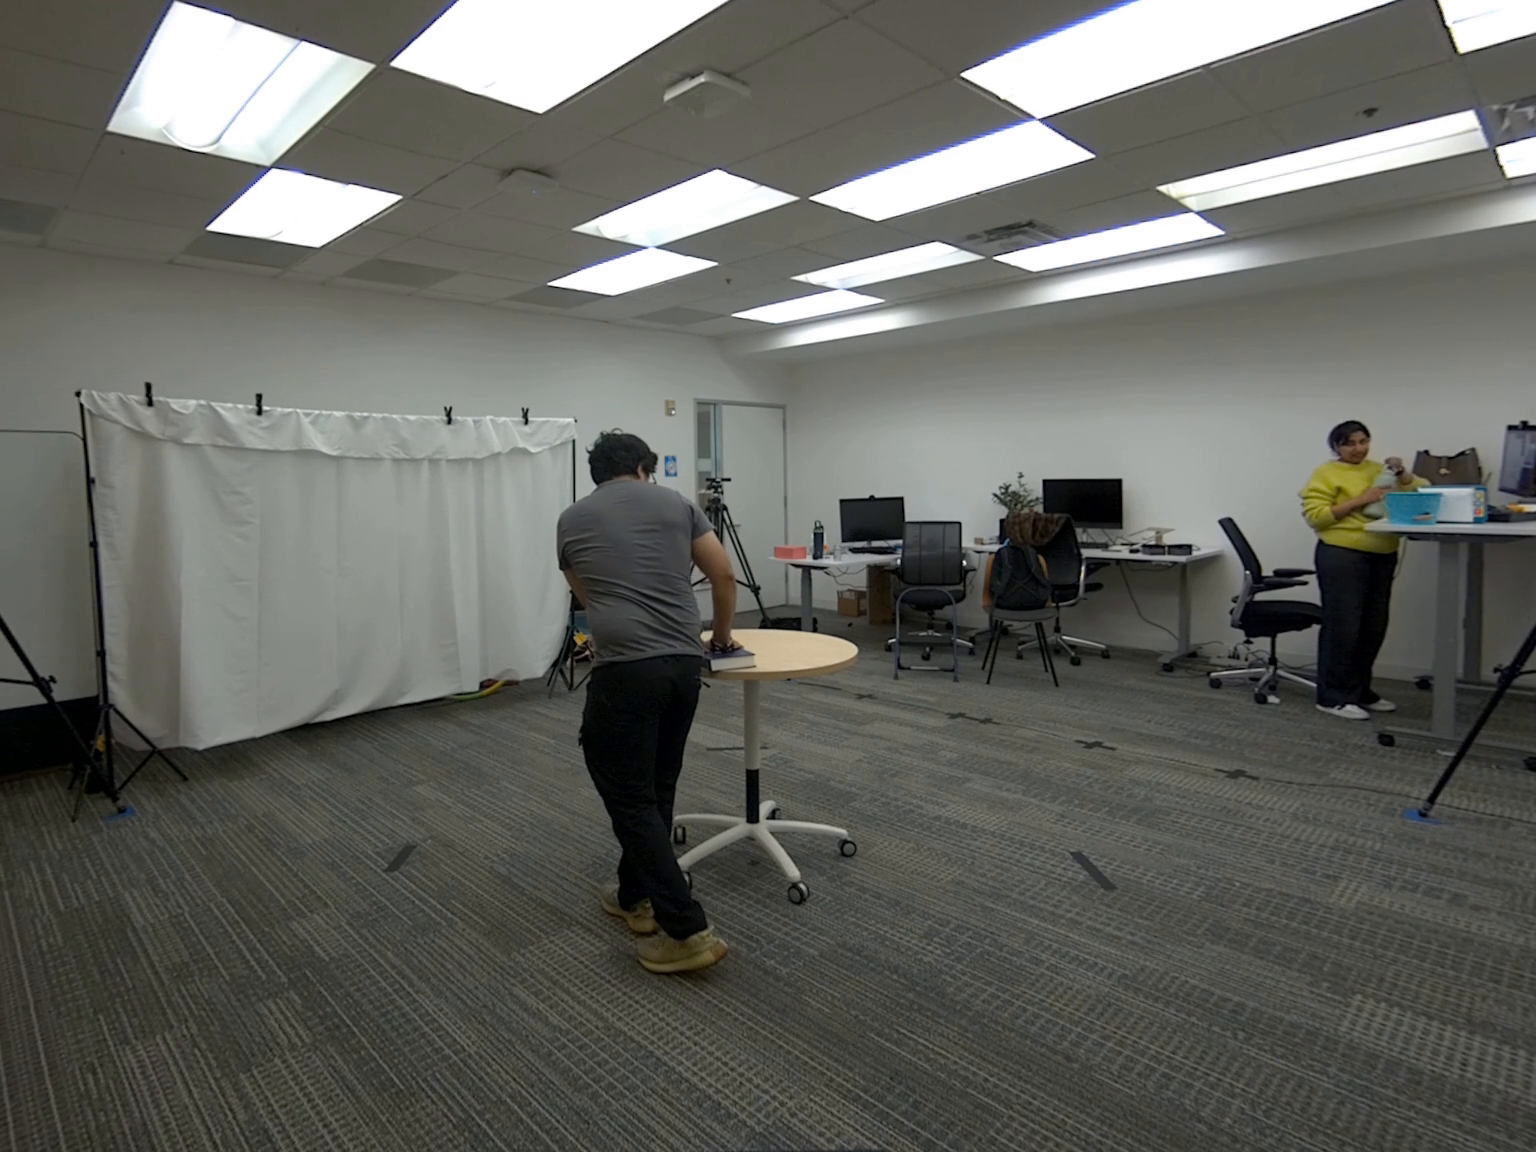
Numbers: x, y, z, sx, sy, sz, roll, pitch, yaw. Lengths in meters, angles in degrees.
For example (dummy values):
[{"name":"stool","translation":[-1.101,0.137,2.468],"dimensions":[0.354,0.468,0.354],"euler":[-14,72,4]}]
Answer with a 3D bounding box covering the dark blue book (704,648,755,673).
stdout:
[{"name":"dark blue book","translation":[-0.157,0.269,2.854],"dimensions":[0.160,0.045,0.251],"euler":[-4,7,-27]}]
